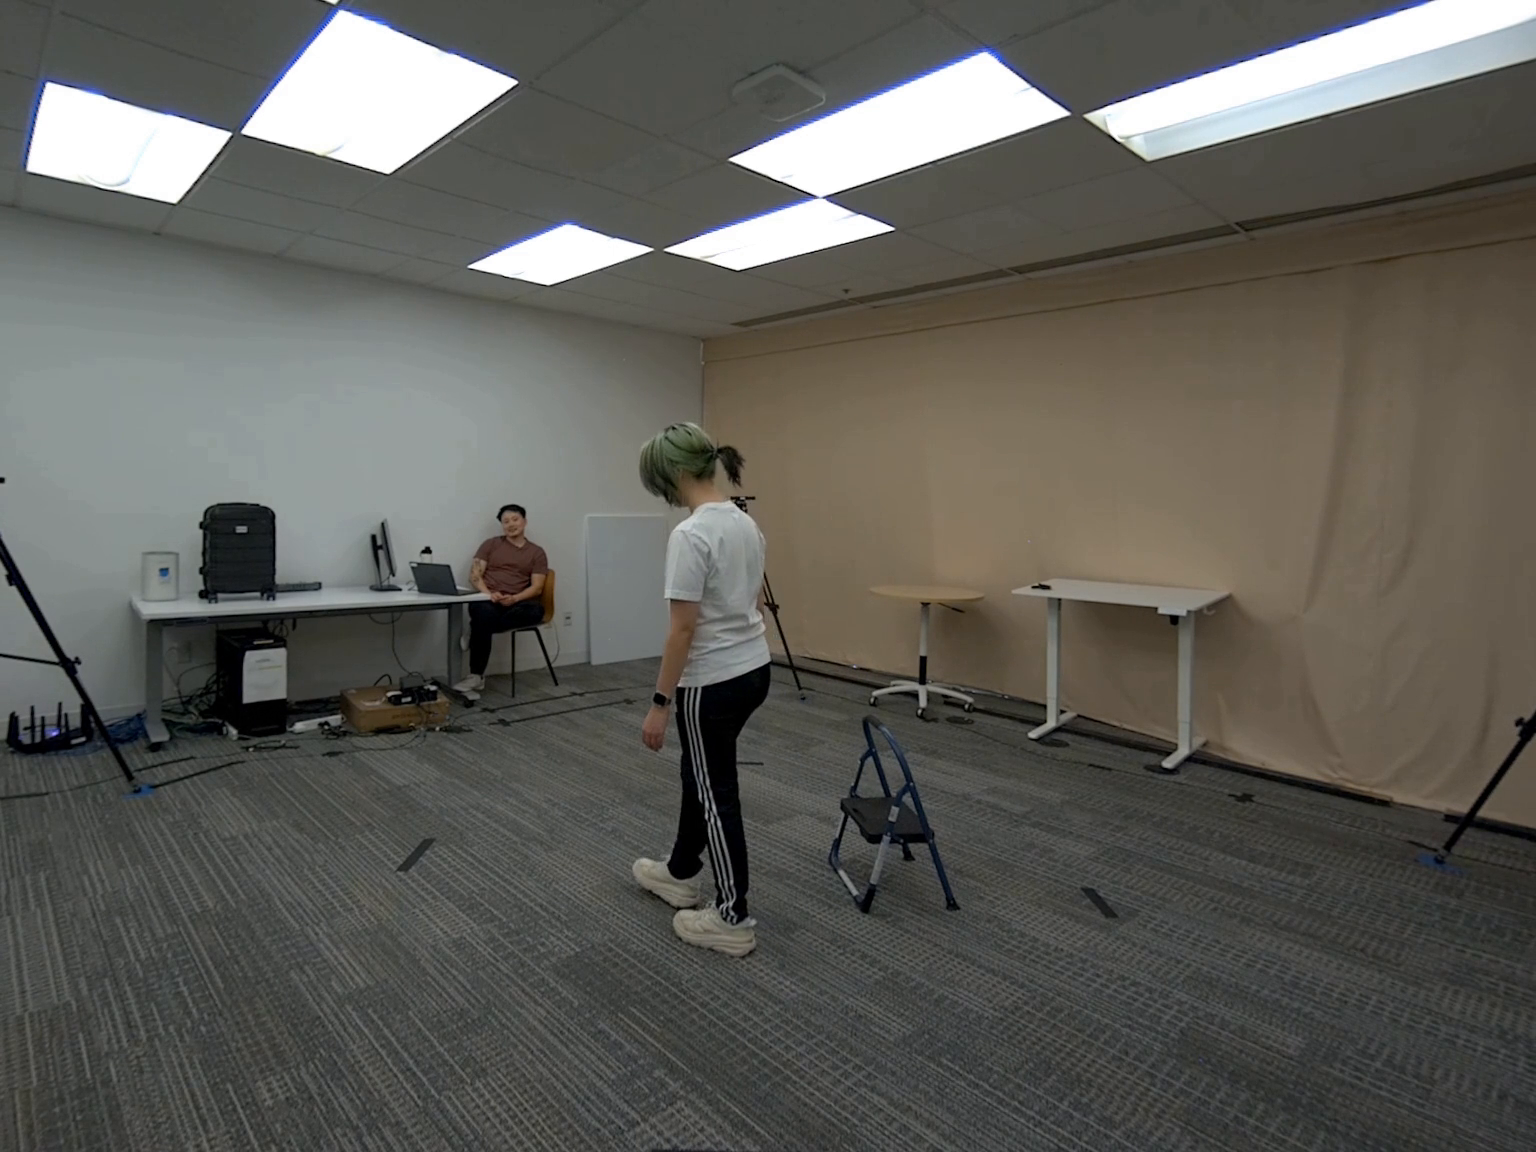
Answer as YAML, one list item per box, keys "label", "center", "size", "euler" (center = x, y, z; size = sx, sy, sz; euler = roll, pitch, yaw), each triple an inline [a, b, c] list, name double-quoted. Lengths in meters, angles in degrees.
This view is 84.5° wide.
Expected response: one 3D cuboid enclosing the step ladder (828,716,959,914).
- label: "step ladder"
  center: [0.445, 0.823, 3.048]
  size: [0.346, 0.604, 0.436]
  euler: [1, 4, -12]
